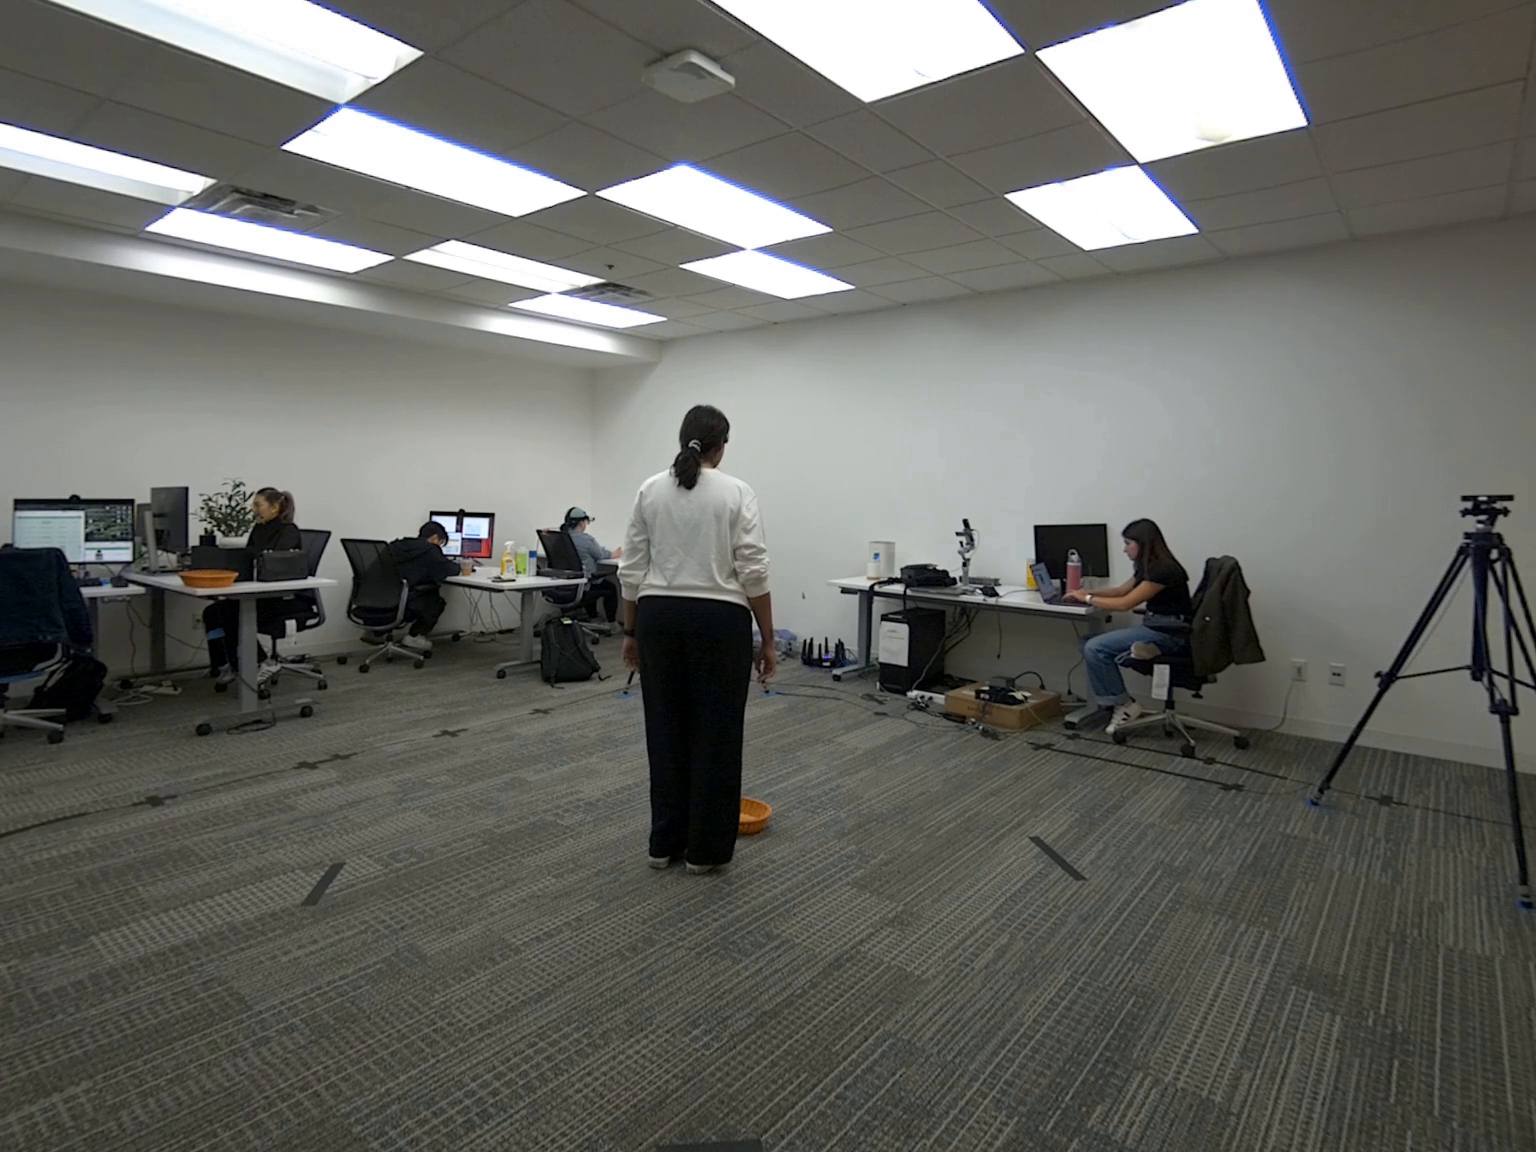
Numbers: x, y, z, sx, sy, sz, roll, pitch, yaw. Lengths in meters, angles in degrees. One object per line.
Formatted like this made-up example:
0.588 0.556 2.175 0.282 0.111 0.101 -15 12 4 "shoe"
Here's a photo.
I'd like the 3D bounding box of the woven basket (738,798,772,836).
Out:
-0.155 0.980 3.518 0.361 0.073 0.246 4 7 29 "woven basket"
